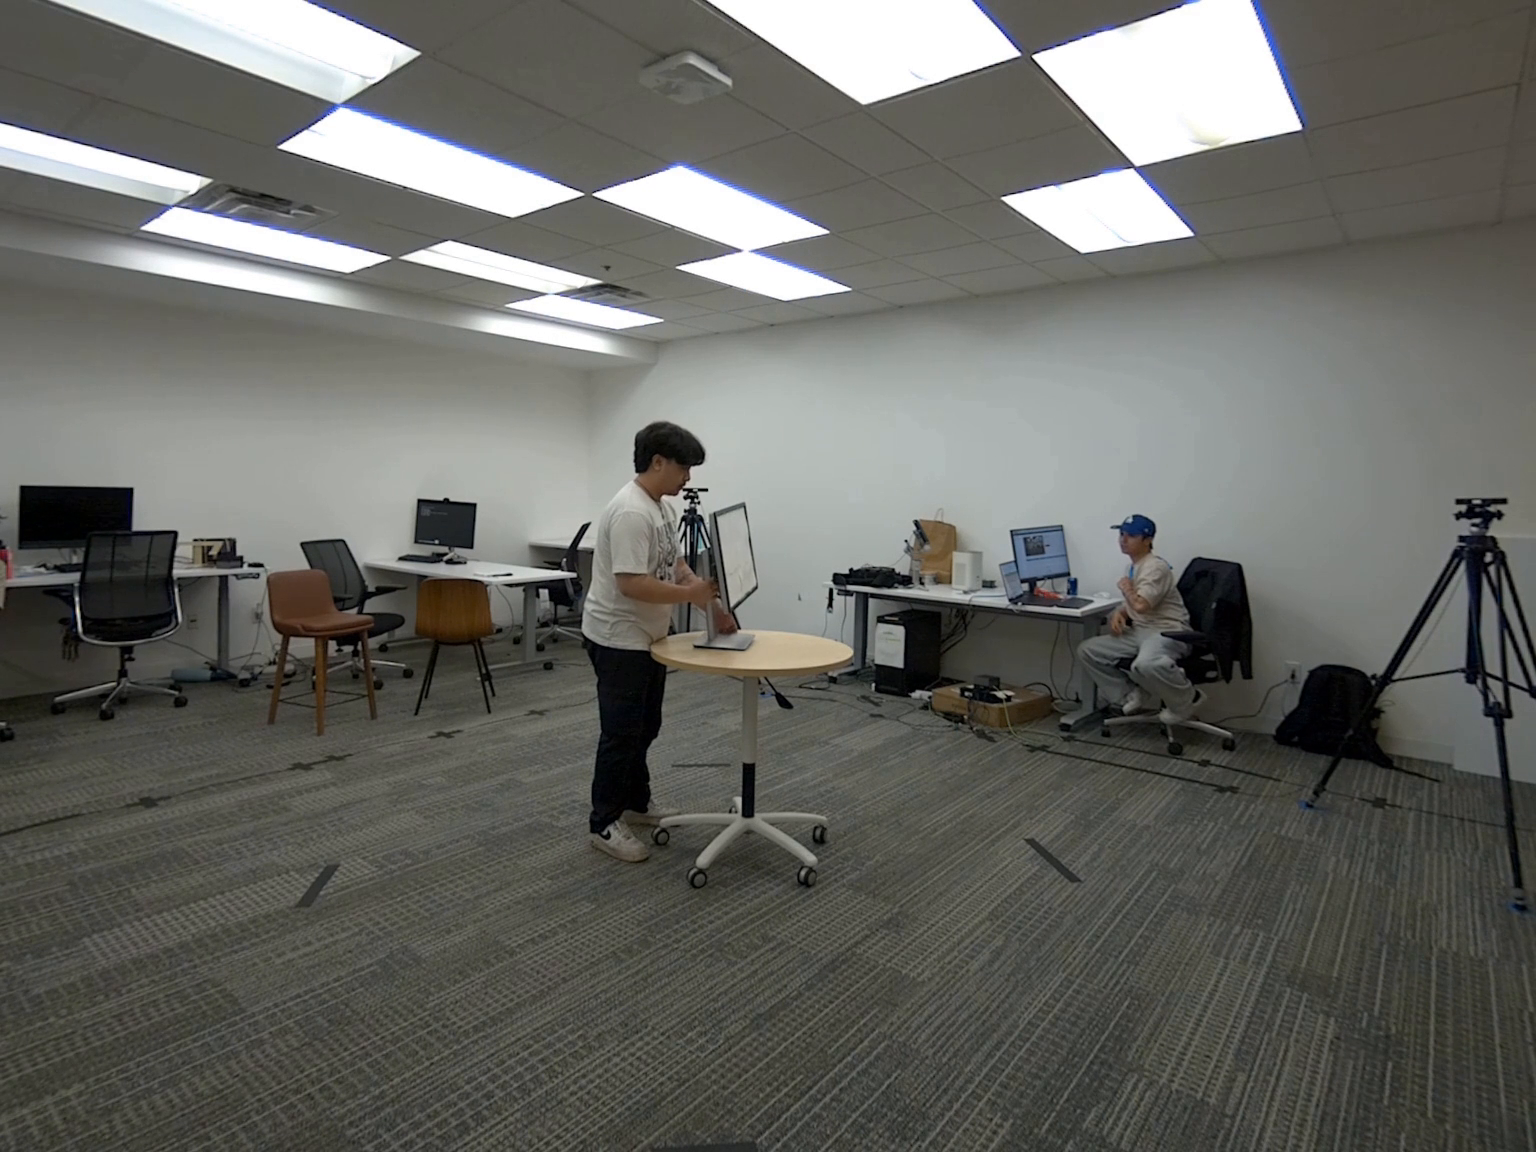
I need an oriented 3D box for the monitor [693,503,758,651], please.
[{"bbox_3d":[-0.196,0.001,3.270,0.212,0.551,0.562,-3,7,10],"label":"monitor"}]
